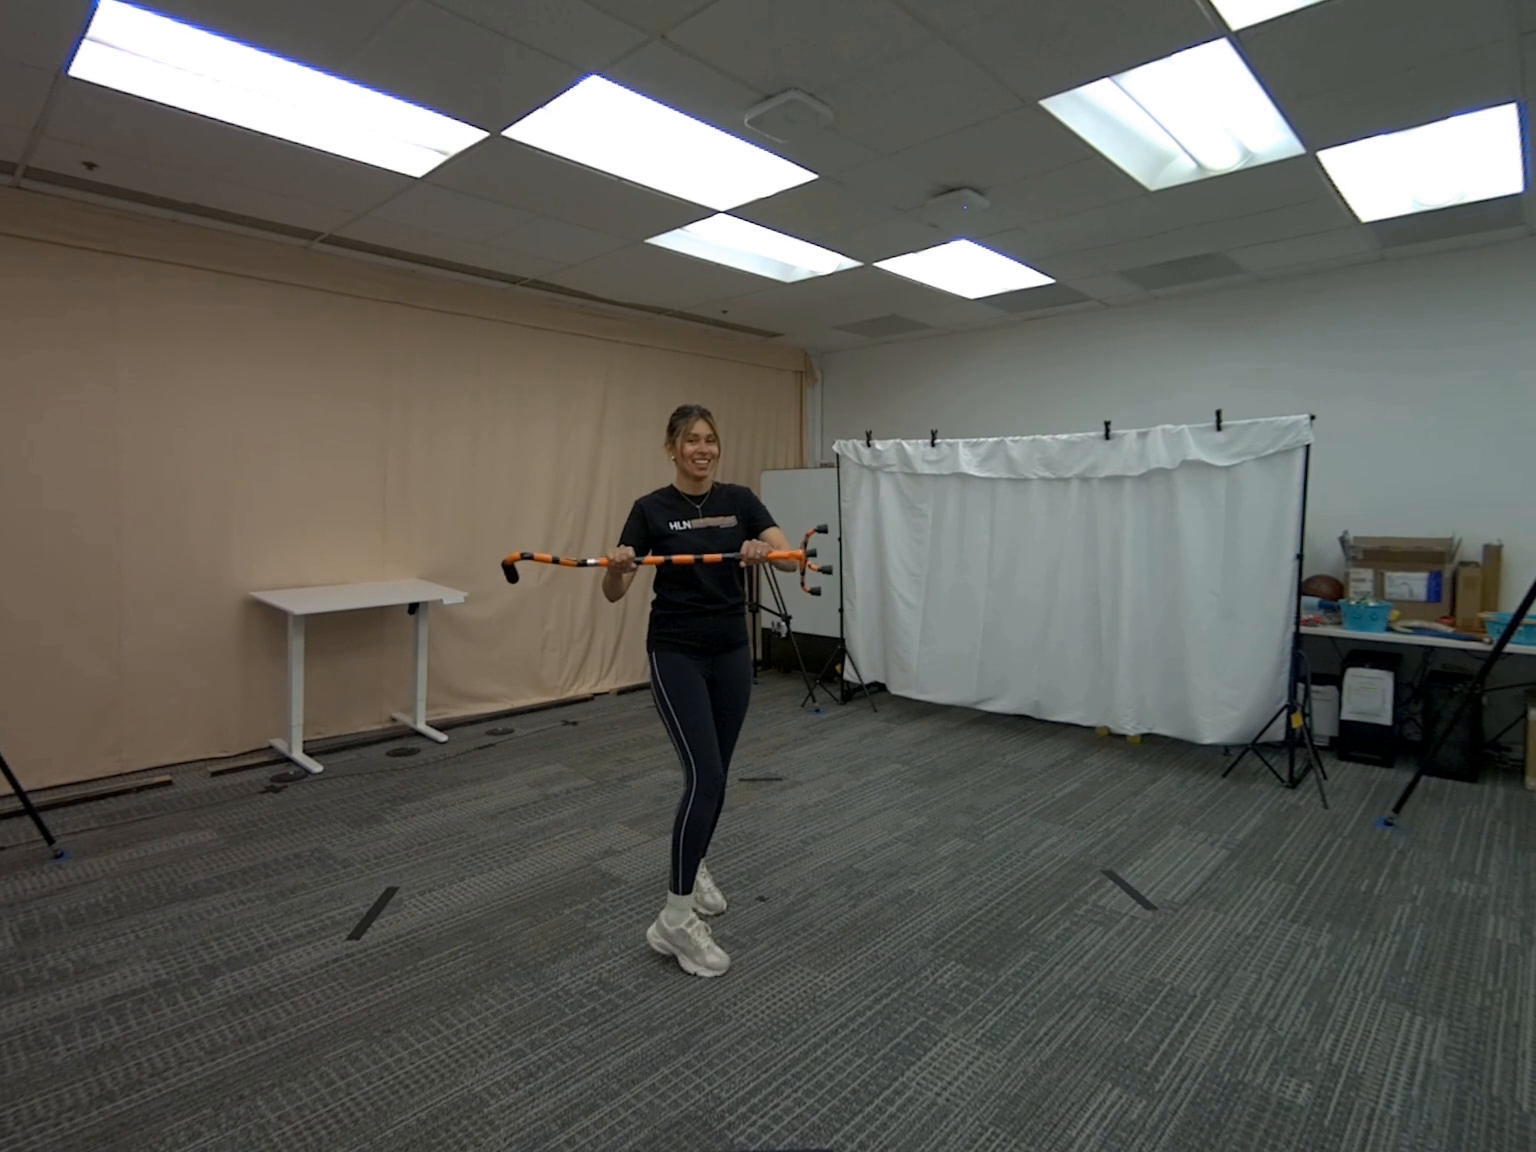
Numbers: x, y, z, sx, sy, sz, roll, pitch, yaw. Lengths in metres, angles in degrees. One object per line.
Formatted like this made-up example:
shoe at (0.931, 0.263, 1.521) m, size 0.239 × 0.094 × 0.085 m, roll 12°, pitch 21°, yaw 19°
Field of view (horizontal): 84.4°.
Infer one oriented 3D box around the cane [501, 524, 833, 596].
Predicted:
cane at (-0.276, -0.021, 2.374) m, size 0.905 × 0.154 × 0.204 m, roll -1°, pitch -23°, yaw -3°
